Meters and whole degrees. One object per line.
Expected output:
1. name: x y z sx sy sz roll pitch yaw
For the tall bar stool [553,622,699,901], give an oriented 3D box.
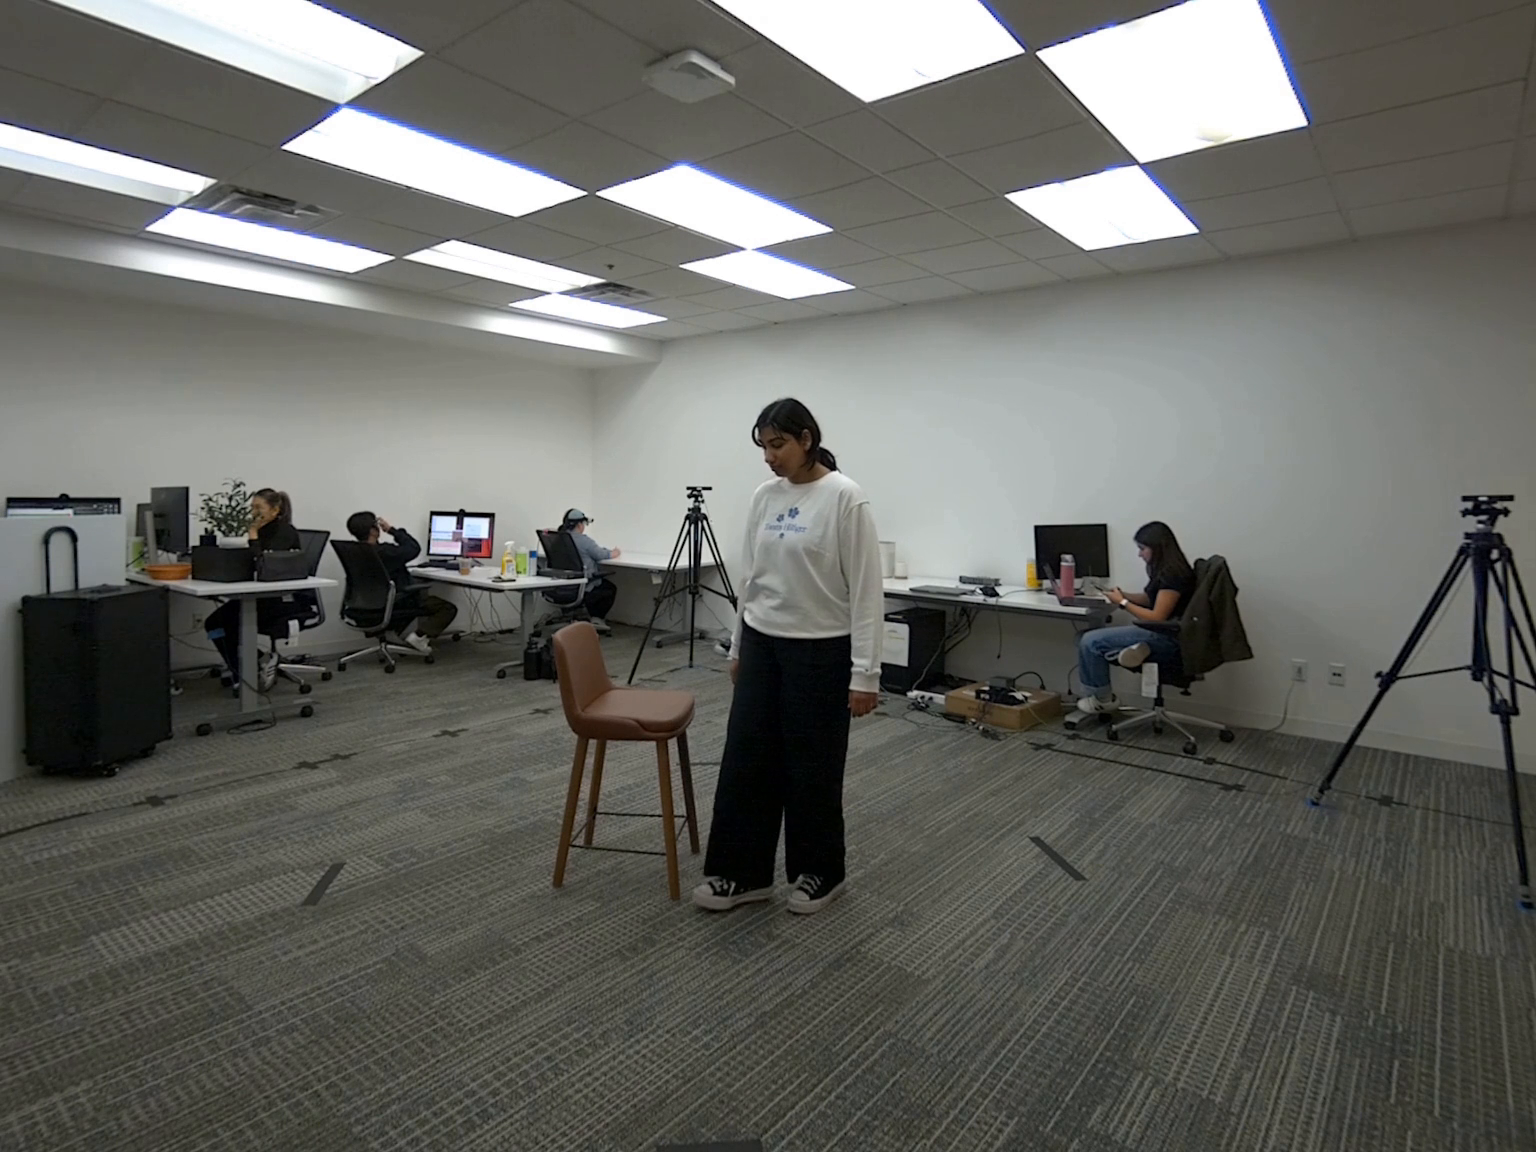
1. tall bar stool: -0.502 0.629 3.069 0.473 0.888 0.453 0 3 9
